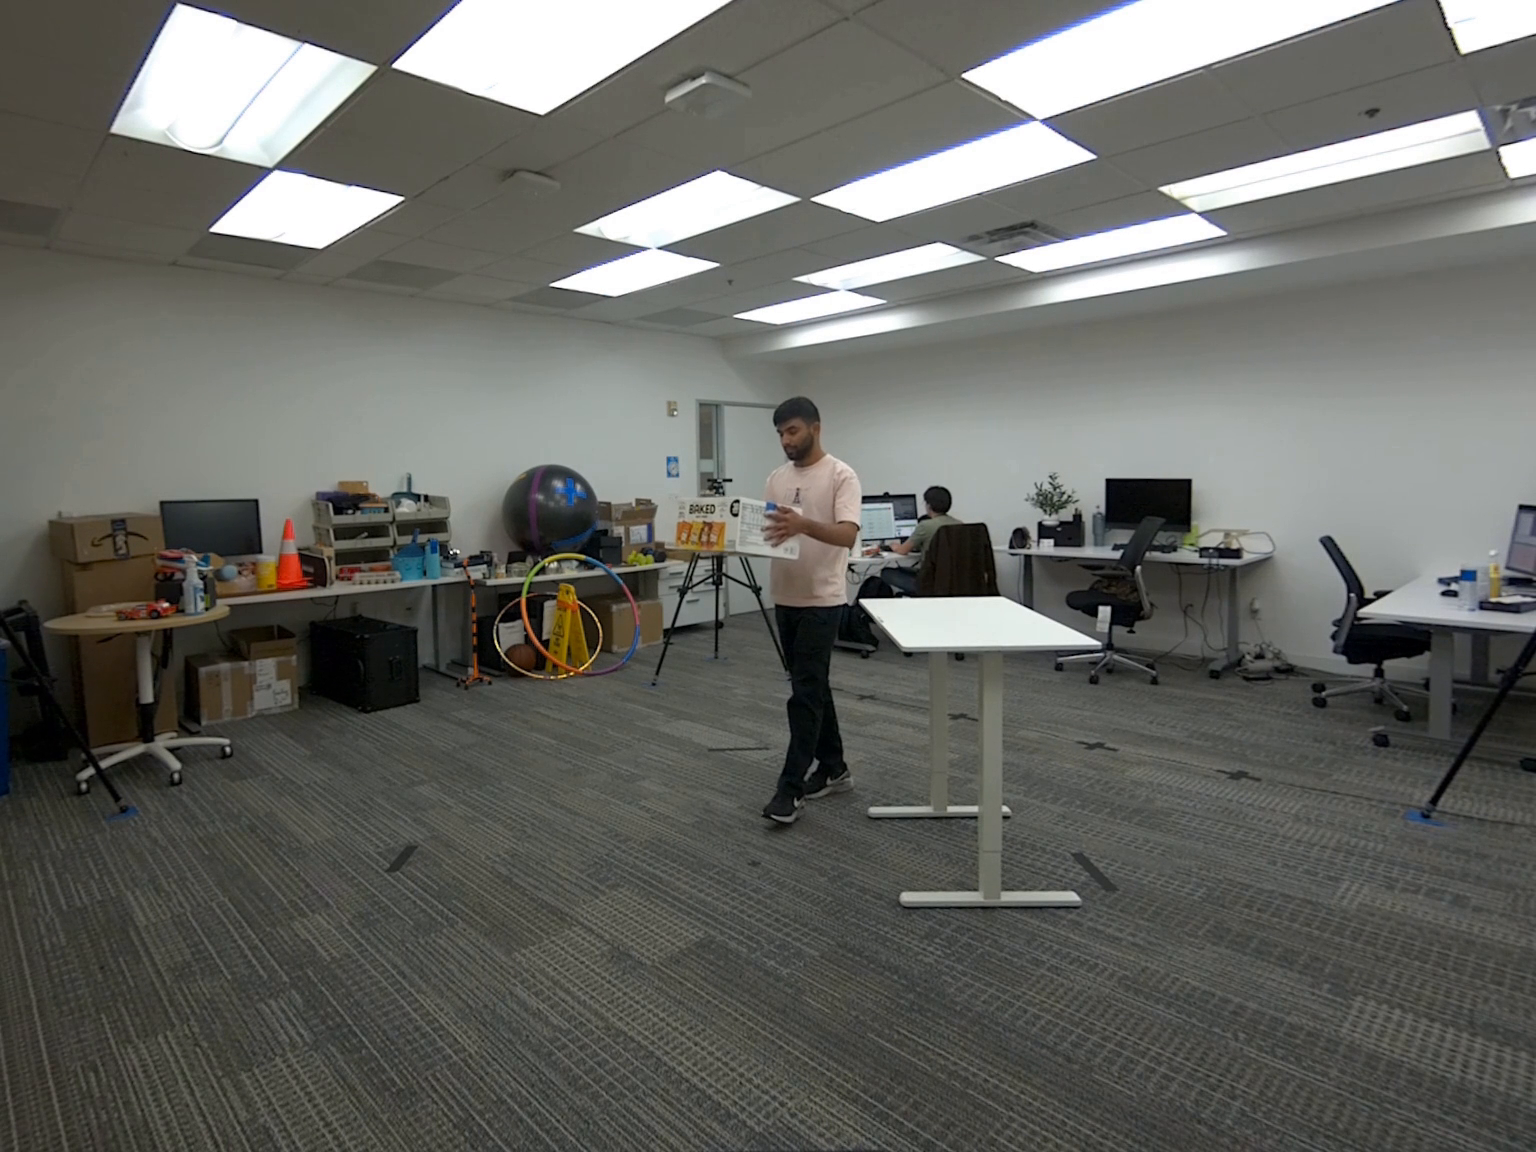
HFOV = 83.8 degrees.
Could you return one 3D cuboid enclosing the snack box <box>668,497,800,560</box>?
[{"bbox_3d":[-0.133,-0.184,3.342,0.417,0.206,0.329,4,-2,45],"label":"snack box"}]
